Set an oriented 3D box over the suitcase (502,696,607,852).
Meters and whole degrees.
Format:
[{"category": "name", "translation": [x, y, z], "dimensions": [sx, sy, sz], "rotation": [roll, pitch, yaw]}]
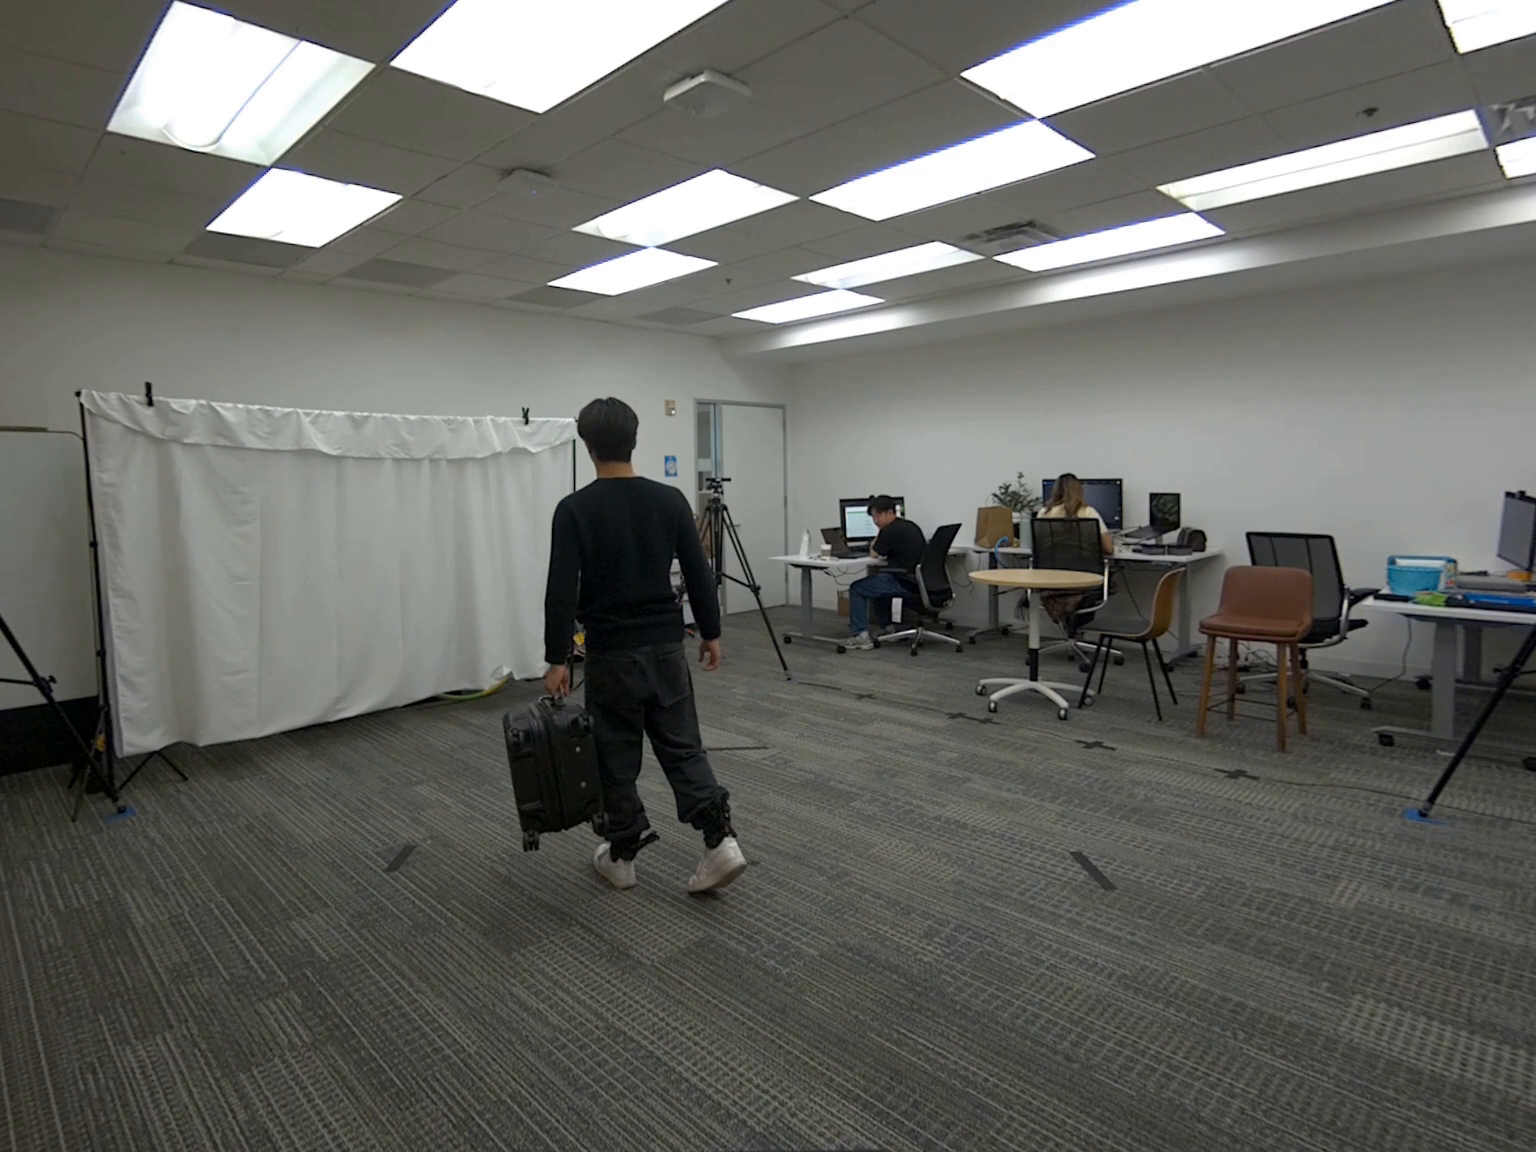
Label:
[{"category": "suitcase", "translation": [-0.773, 0.607, 2.965], "dimensions": [0.253, 0.384, 0.993], "rotation": [-10, 1, -21]}]
